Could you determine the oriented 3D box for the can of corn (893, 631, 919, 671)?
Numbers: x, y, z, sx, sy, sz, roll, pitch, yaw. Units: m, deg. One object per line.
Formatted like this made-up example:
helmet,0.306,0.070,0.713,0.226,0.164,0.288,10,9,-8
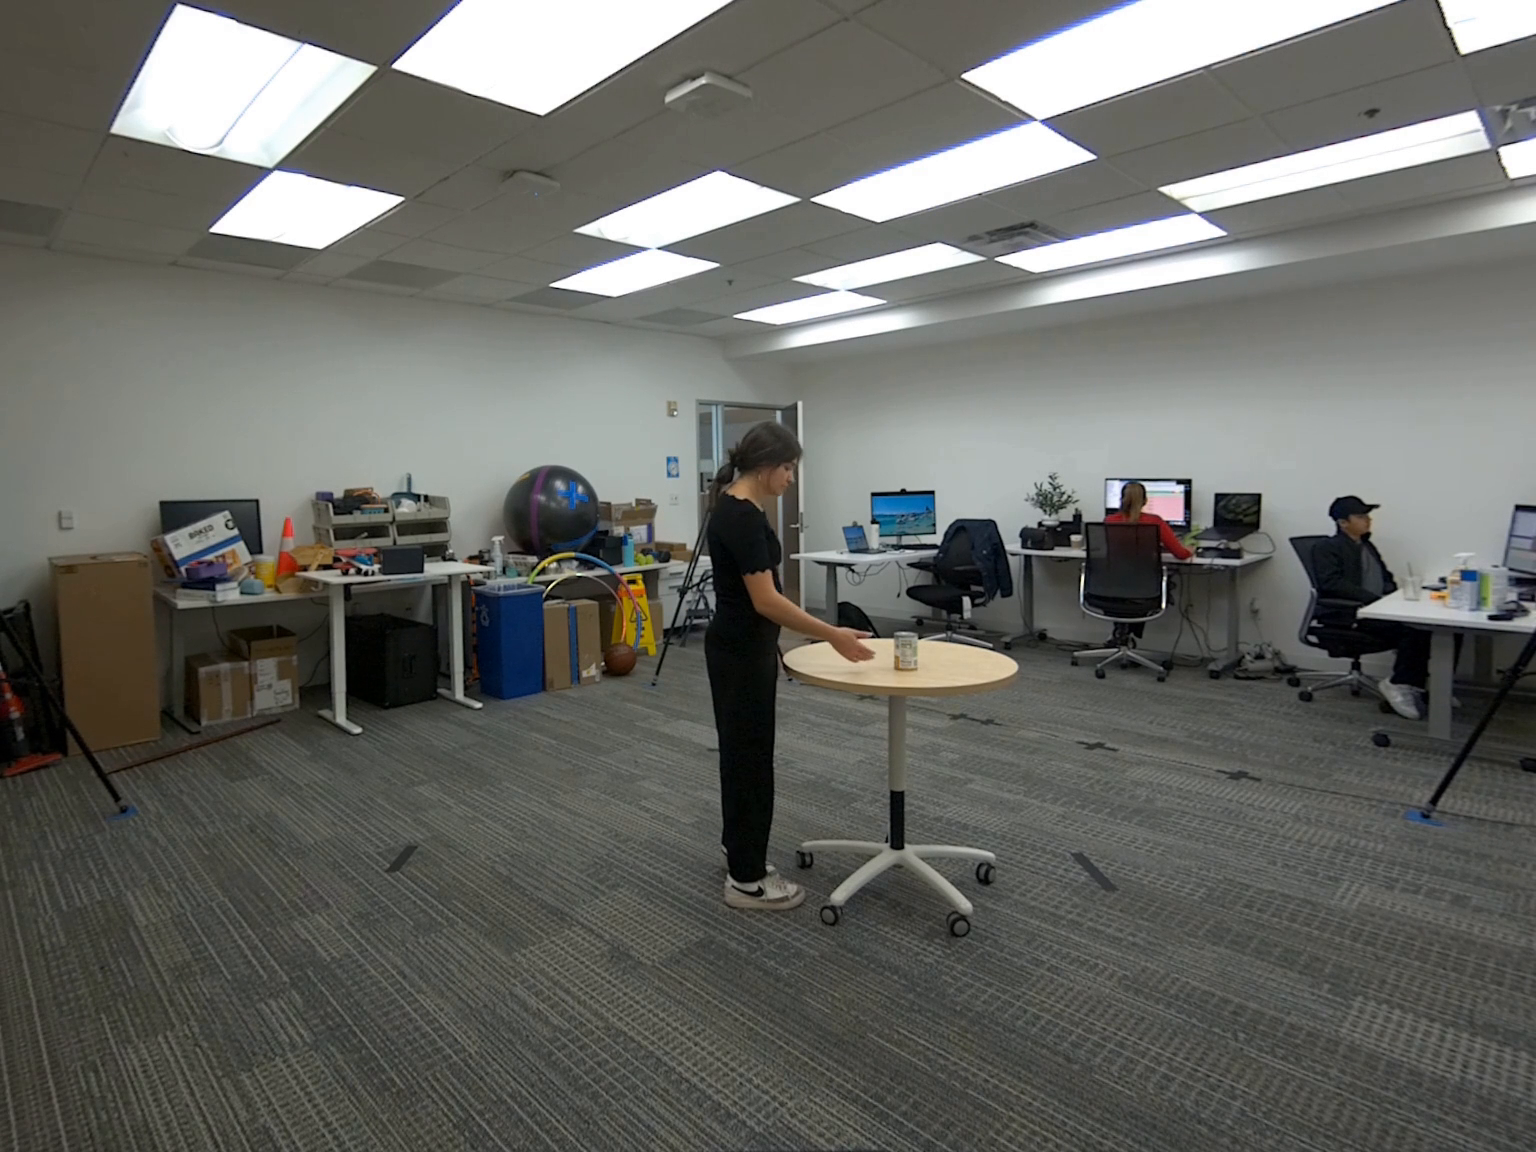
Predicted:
can of corn,0.439,0.243,2.705,0.074,0.110,0.074,-1,6,-2
